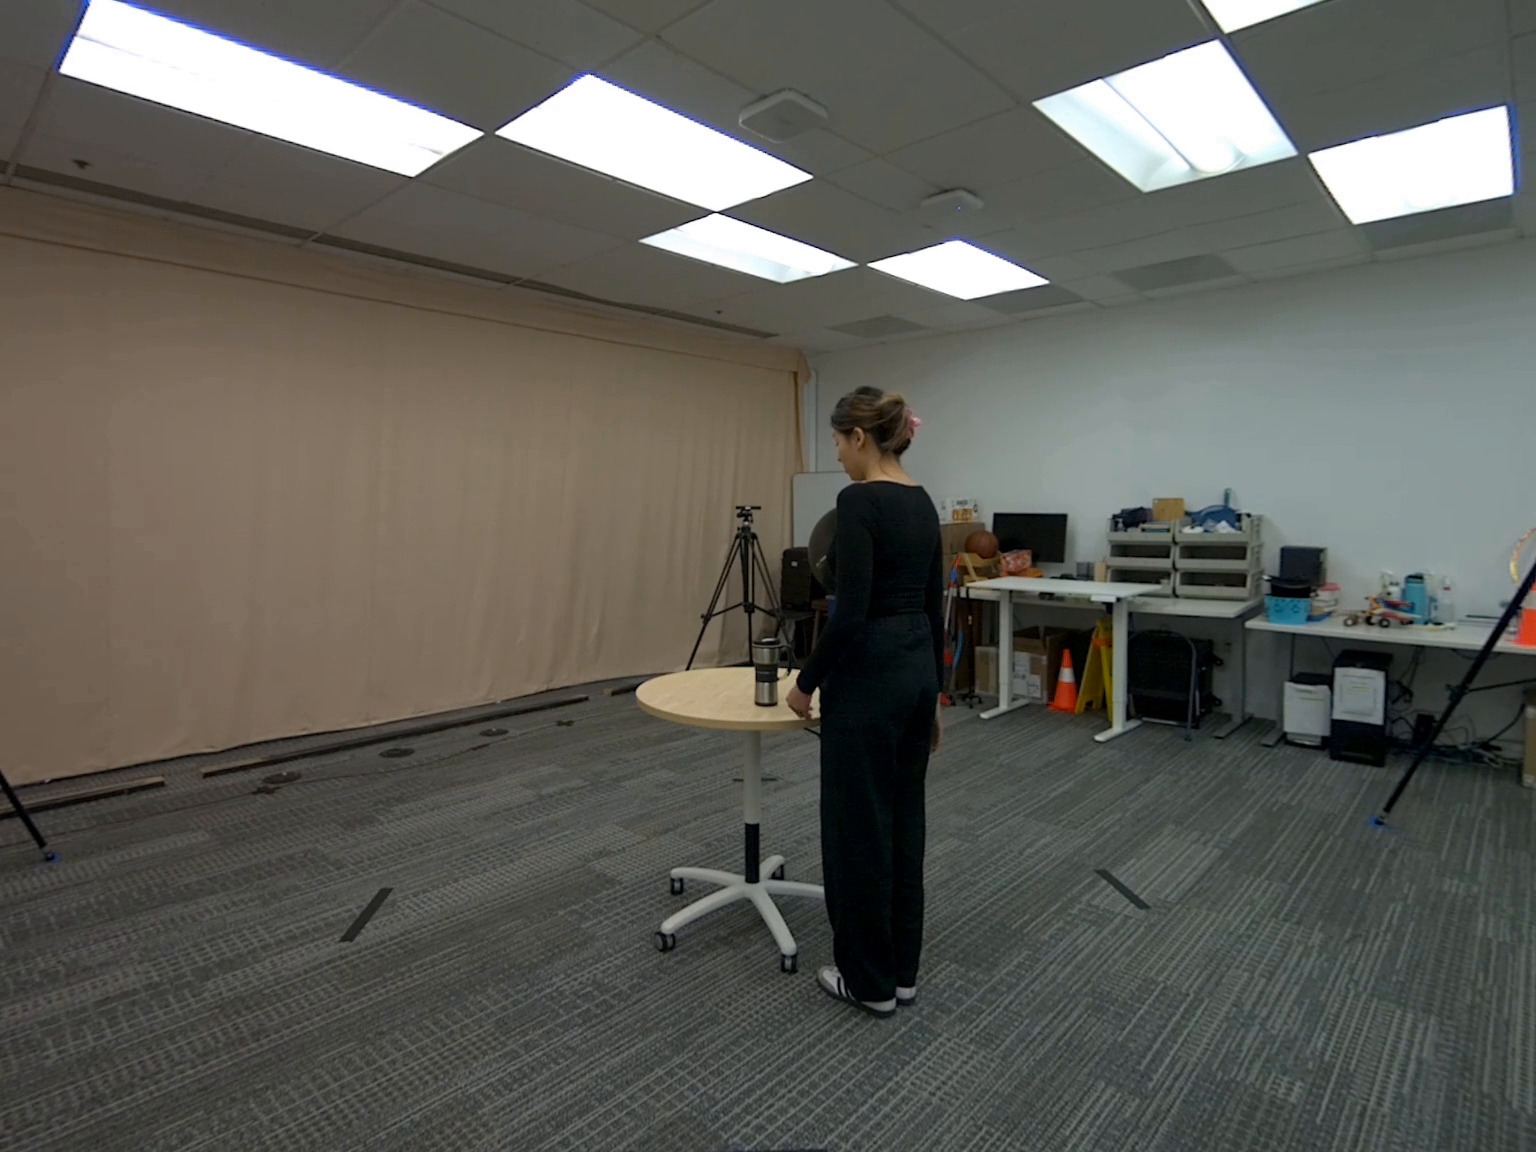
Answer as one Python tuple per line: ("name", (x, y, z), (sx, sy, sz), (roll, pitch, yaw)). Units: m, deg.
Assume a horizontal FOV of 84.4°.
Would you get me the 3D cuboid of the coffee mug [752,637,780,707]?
("coffee mug", (0.016, 0.298, 2.571), (0.126, 0.203, 0.085), (0, 0, 41))
